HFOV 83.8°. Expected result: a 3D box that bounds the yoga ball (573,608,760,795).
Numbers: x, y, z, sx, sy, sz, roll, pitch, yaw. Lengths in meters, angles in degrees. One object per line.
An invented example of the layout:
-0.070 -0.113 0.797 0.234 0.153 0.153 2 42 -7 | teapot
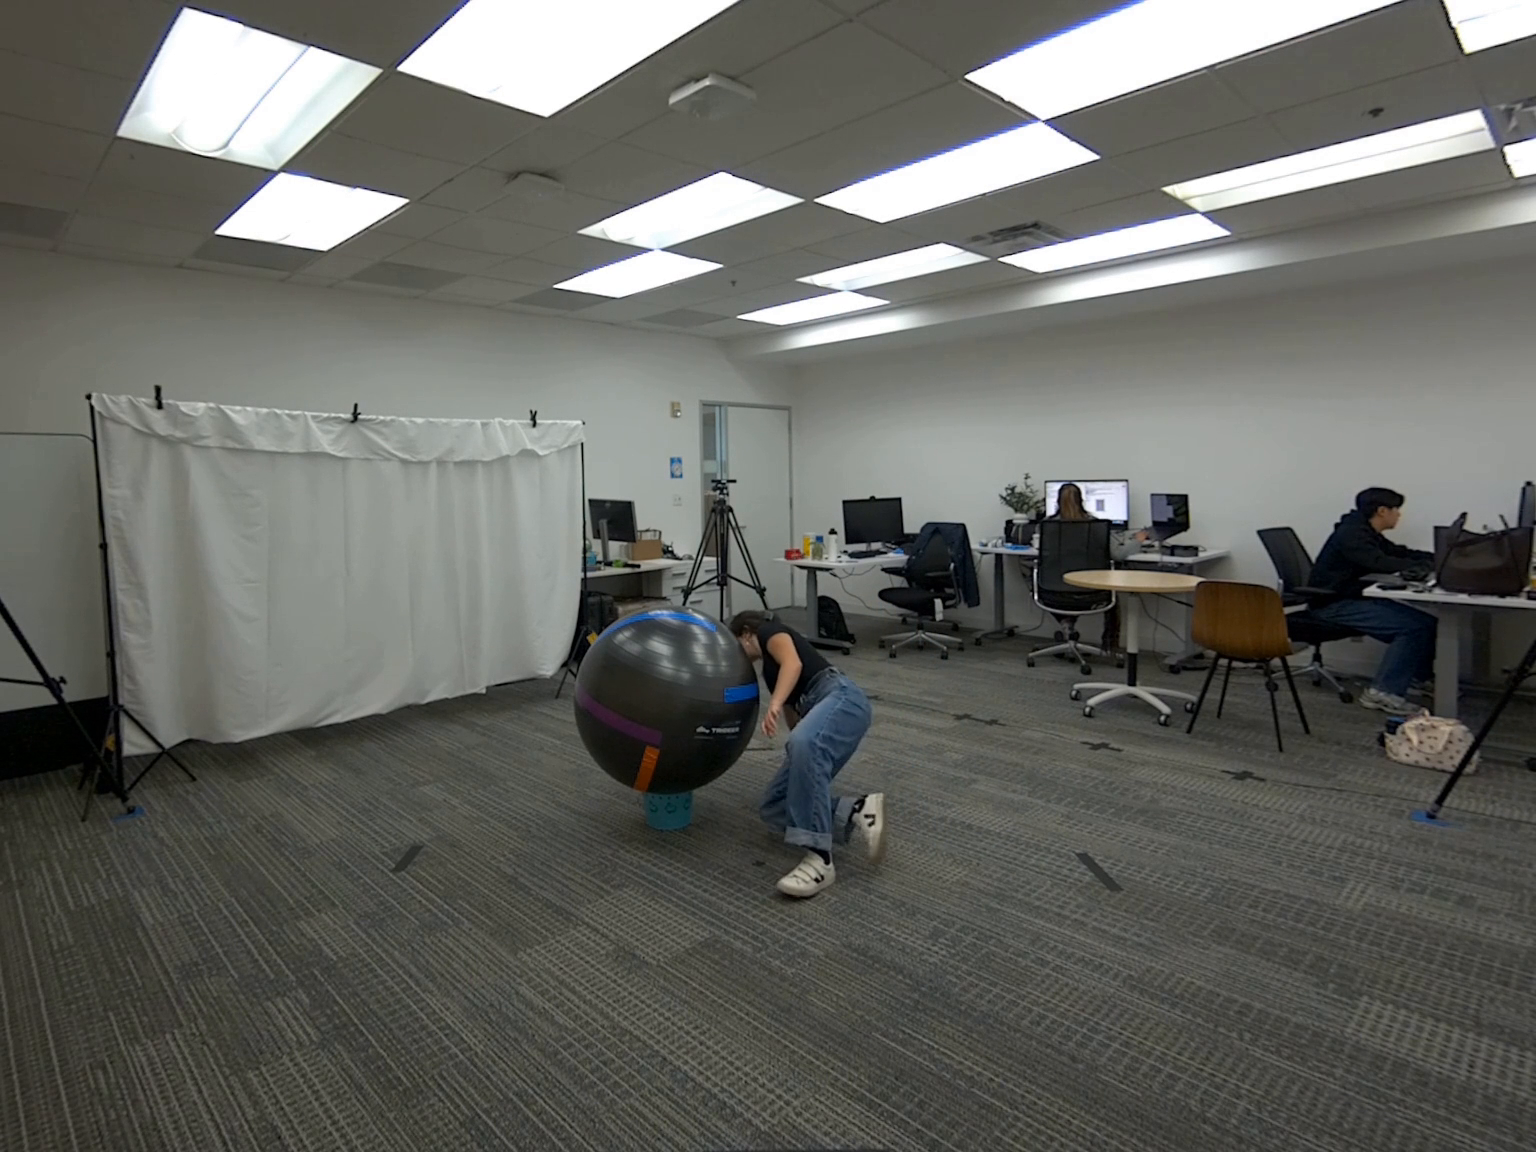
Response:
-0.416 0.504 3.496 0.757 0.755 0.762 -1 5 -2 | yoga ball
